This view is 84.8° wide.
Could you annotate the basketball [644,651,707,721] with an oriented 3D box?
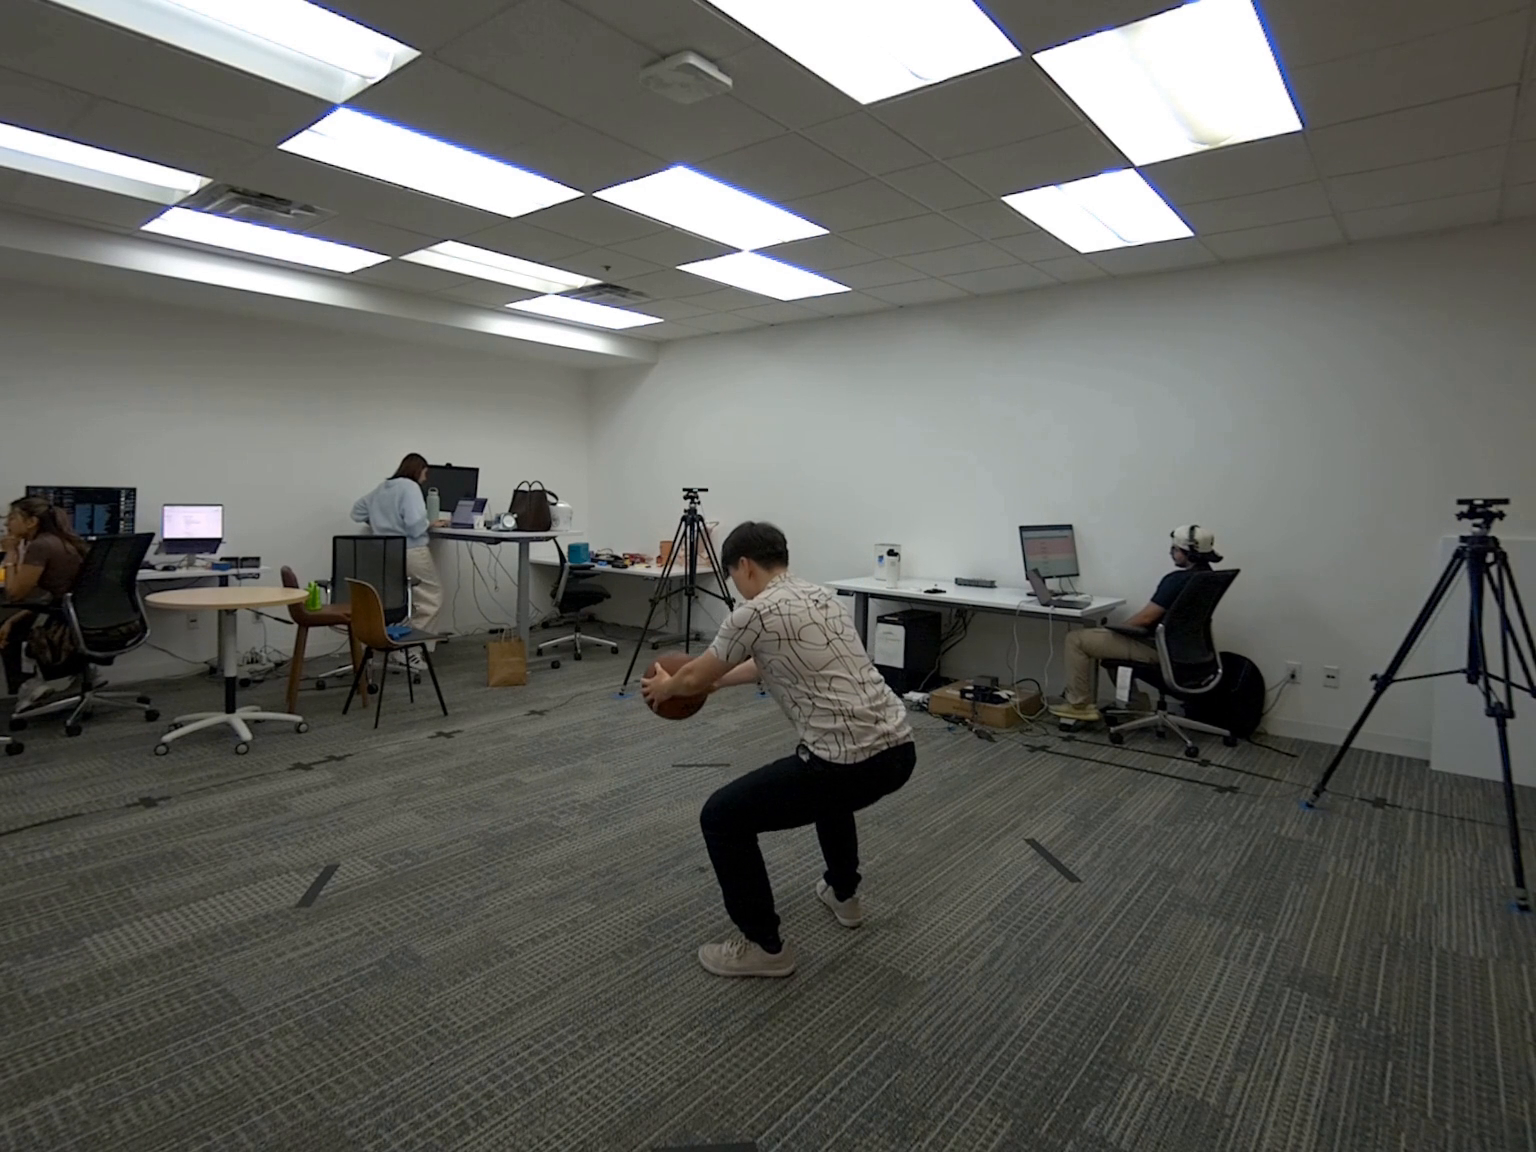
[{"bbox_3d":[-0.336,0.387,3.006,0.235,0.235,0.237,1,4,-2],"label":"basketball"}]
